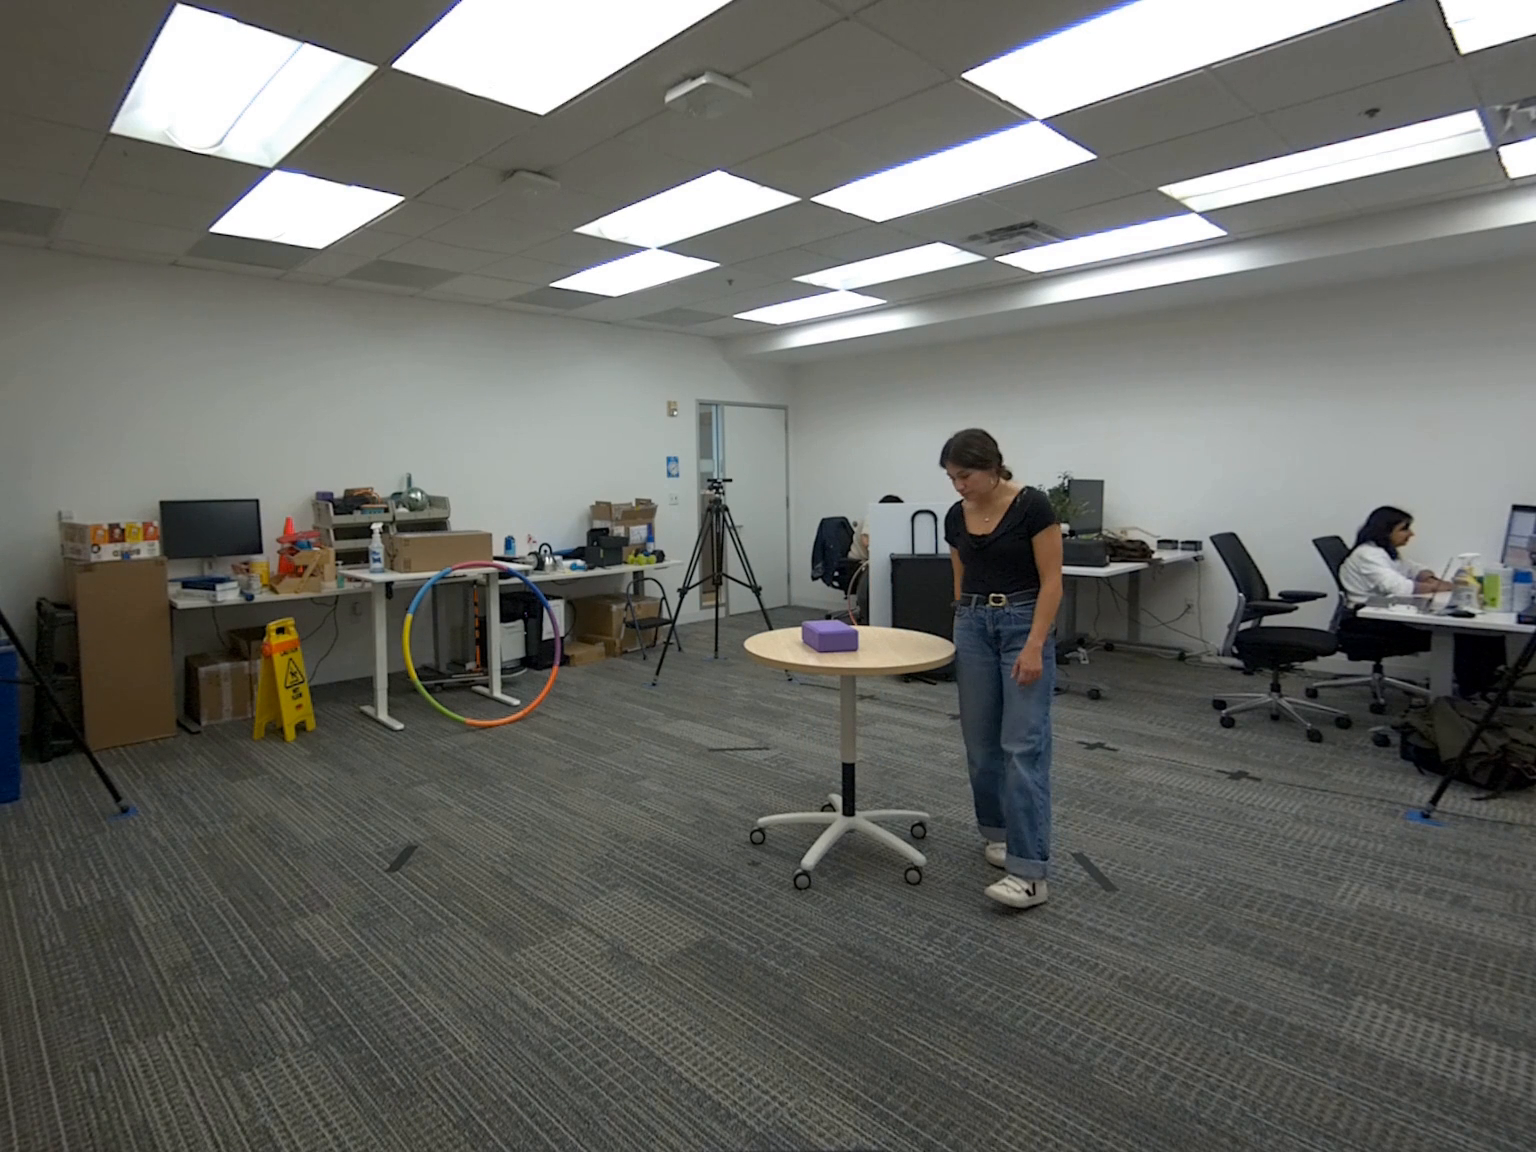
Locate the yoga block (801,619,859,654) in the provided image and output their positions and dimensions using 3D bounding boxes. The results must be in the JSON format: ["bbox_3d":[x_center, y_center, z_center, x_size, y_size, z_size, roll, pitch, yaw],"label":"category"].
[{"bbox_3d":[0.230,0.220,3.110,0.147,0.076,0.233,-1,6,-12],"label":"yoga block"}]
